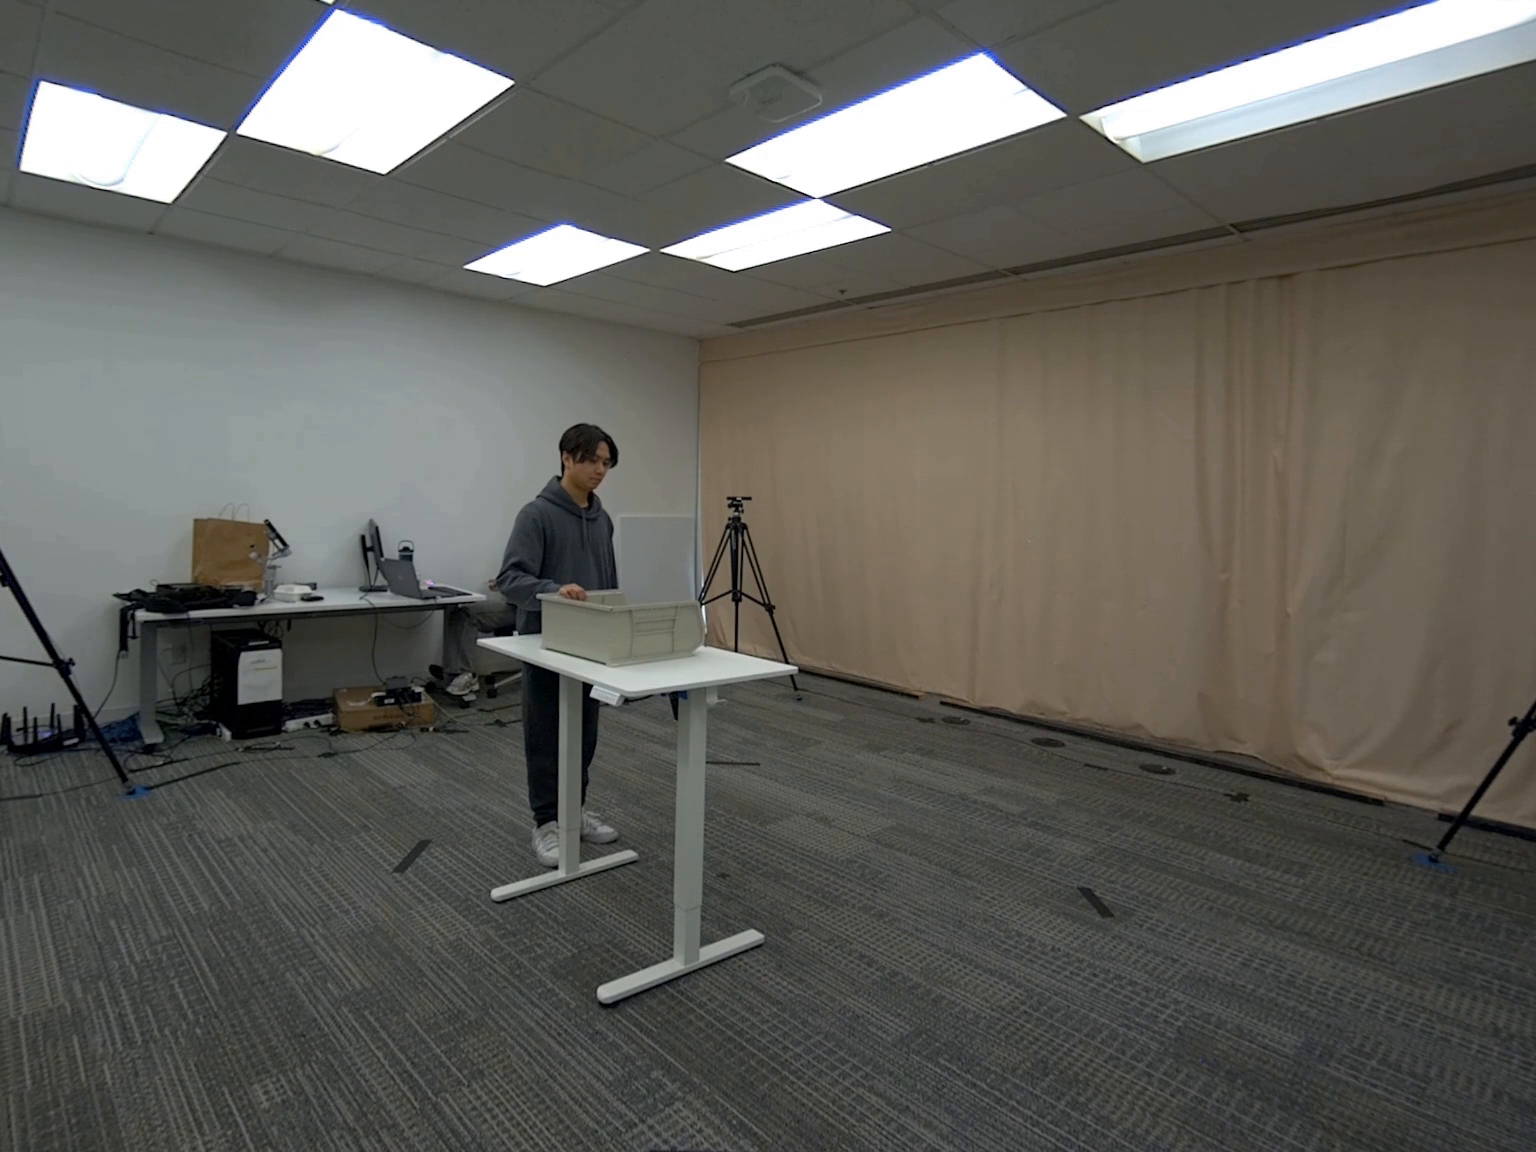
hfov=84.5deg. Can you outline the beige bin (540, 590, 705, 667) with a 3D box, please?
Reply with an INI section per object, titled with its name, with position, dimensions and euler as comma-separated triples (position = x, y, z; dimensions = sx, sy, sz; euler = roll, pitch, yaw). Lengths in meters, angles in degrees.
[beige bin]
position = -0.484, 0.160, 2.736
dimensions = 0.369, 0.188, 0.433
euler = -4, 7, -44
